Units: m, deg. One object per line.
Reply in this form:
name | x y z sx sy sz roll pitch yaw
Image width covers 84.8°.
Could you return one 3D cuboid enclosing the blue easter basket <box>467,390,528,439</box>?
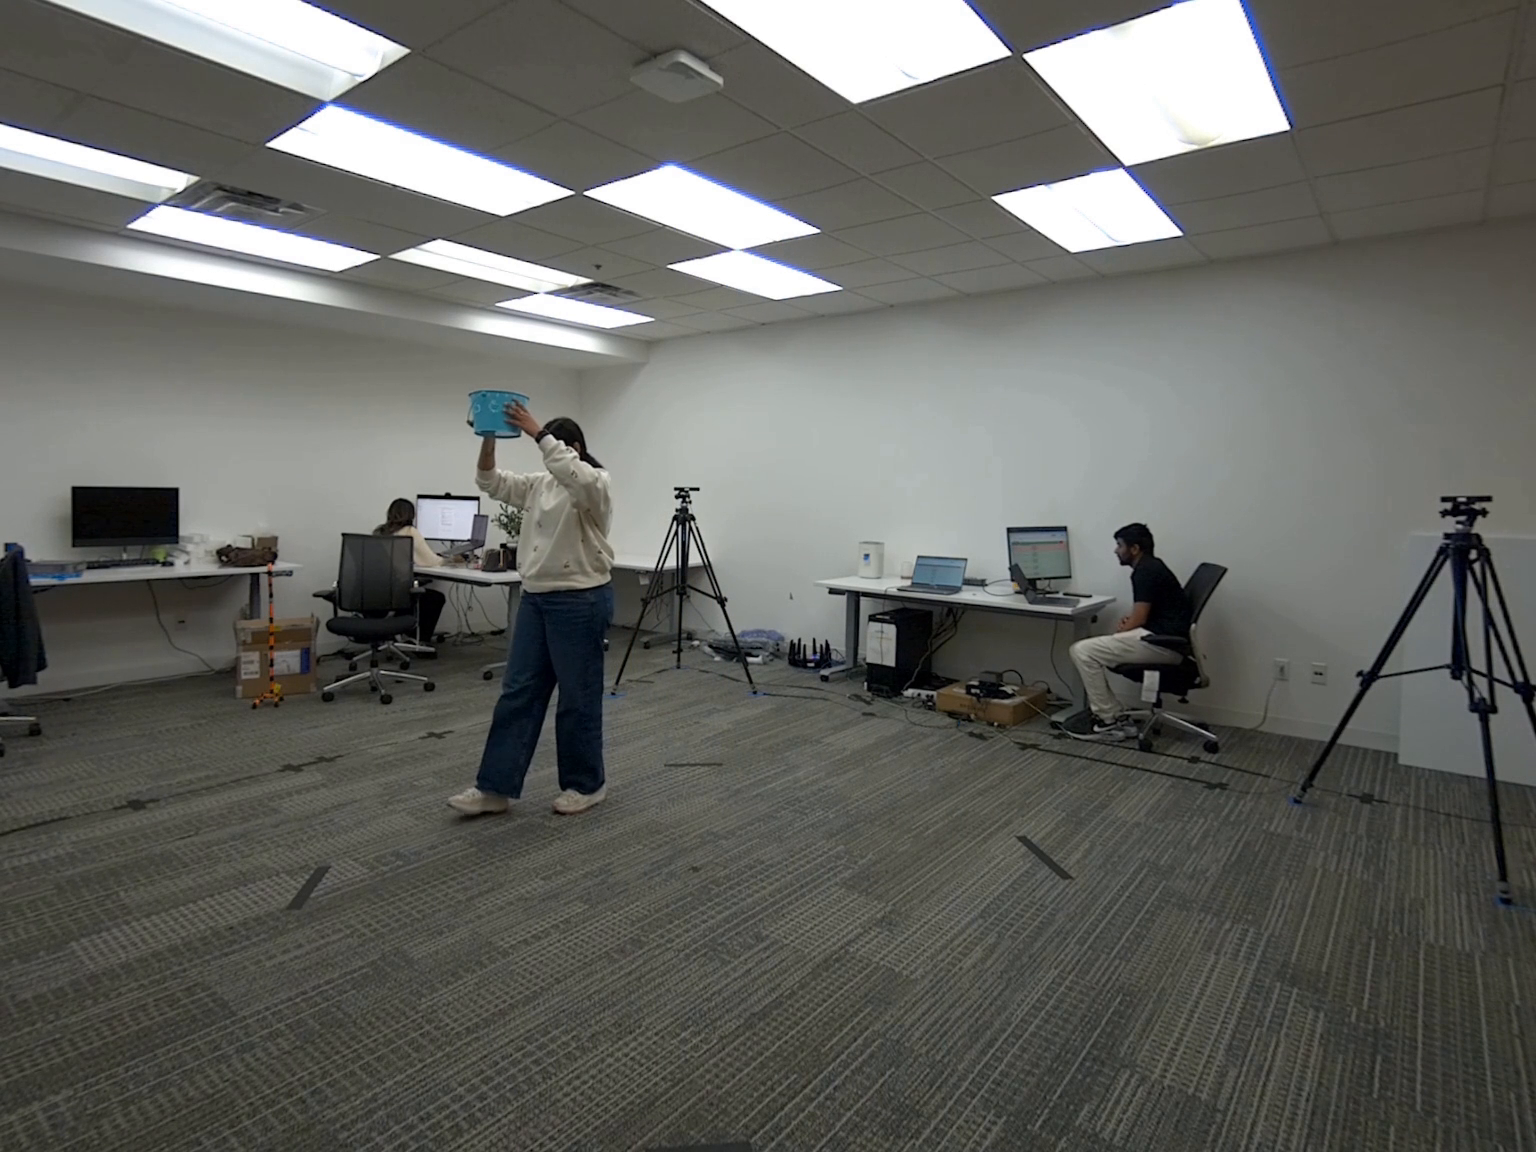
blue easter basket | -1.088 -0.642 3.370 0.243 0.156 0.243 2 -1 -2
